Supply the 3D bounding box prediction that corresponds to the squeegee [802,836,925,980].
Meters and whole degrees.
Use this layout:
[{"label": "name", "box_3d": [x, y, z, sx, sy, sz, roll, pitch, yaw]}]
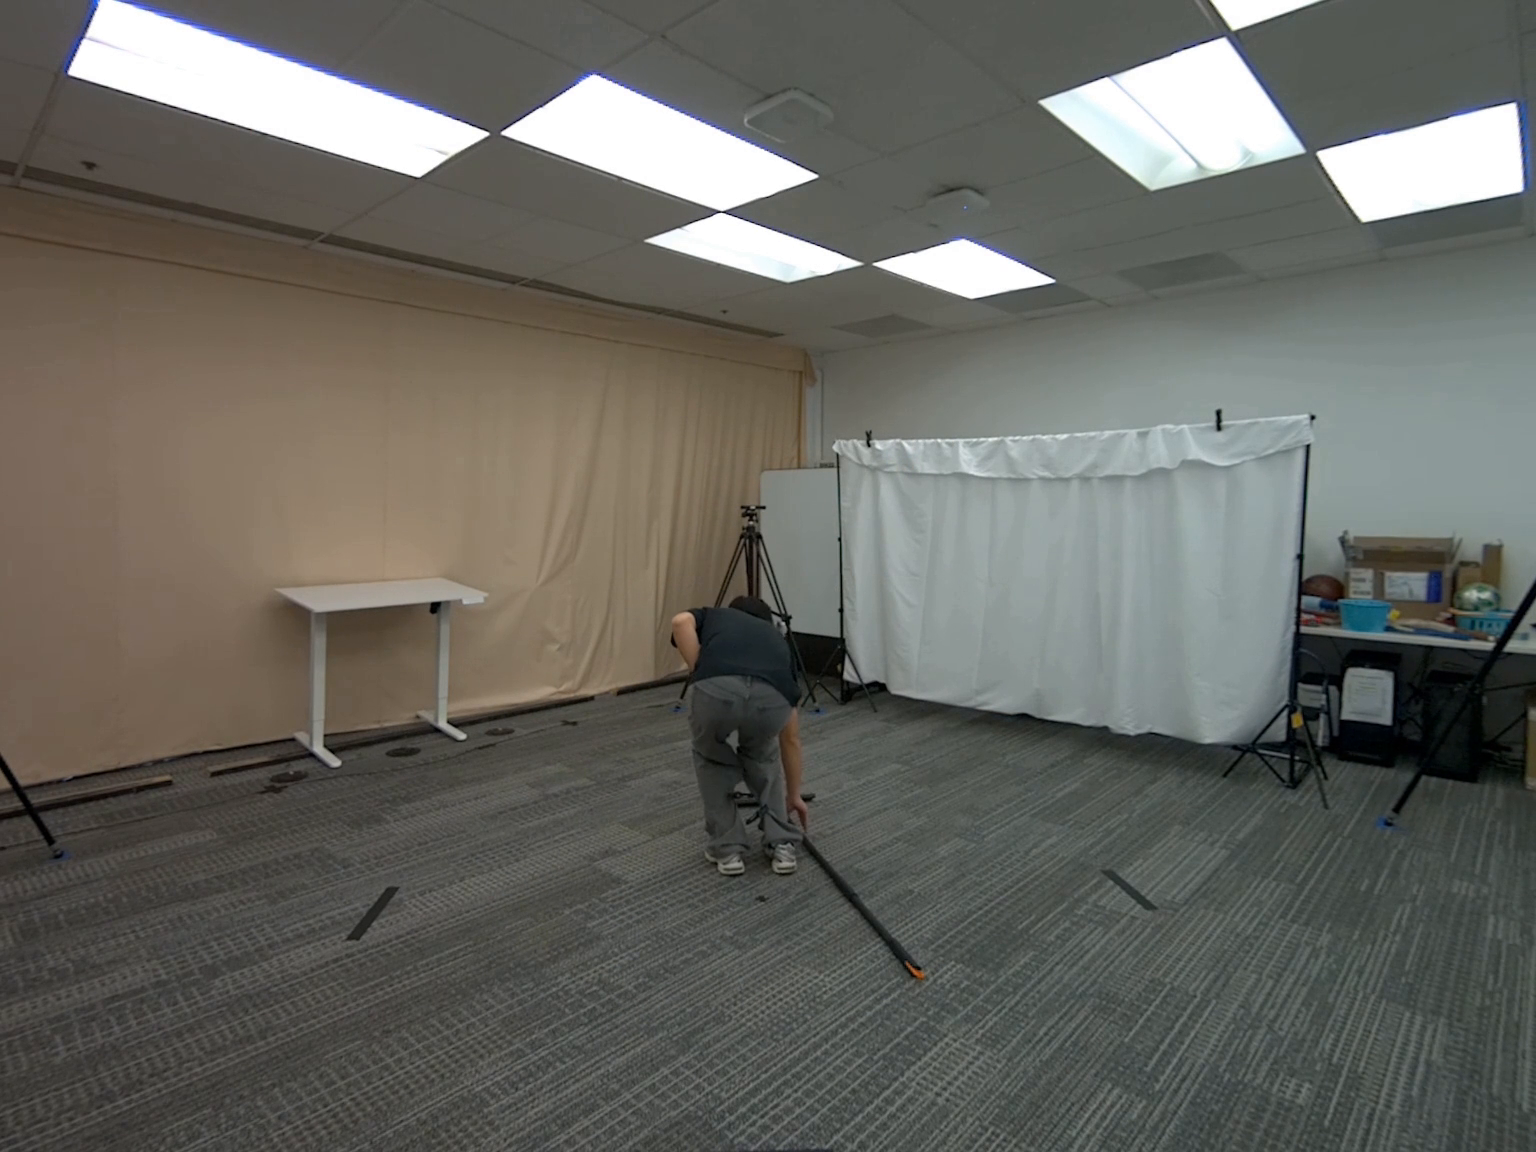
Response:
[{"label": "squeegee", "box_3d": [0.232, 1.080, 3.192, 0.430, 0.053, 1.566, -4, 5, -17]}]
